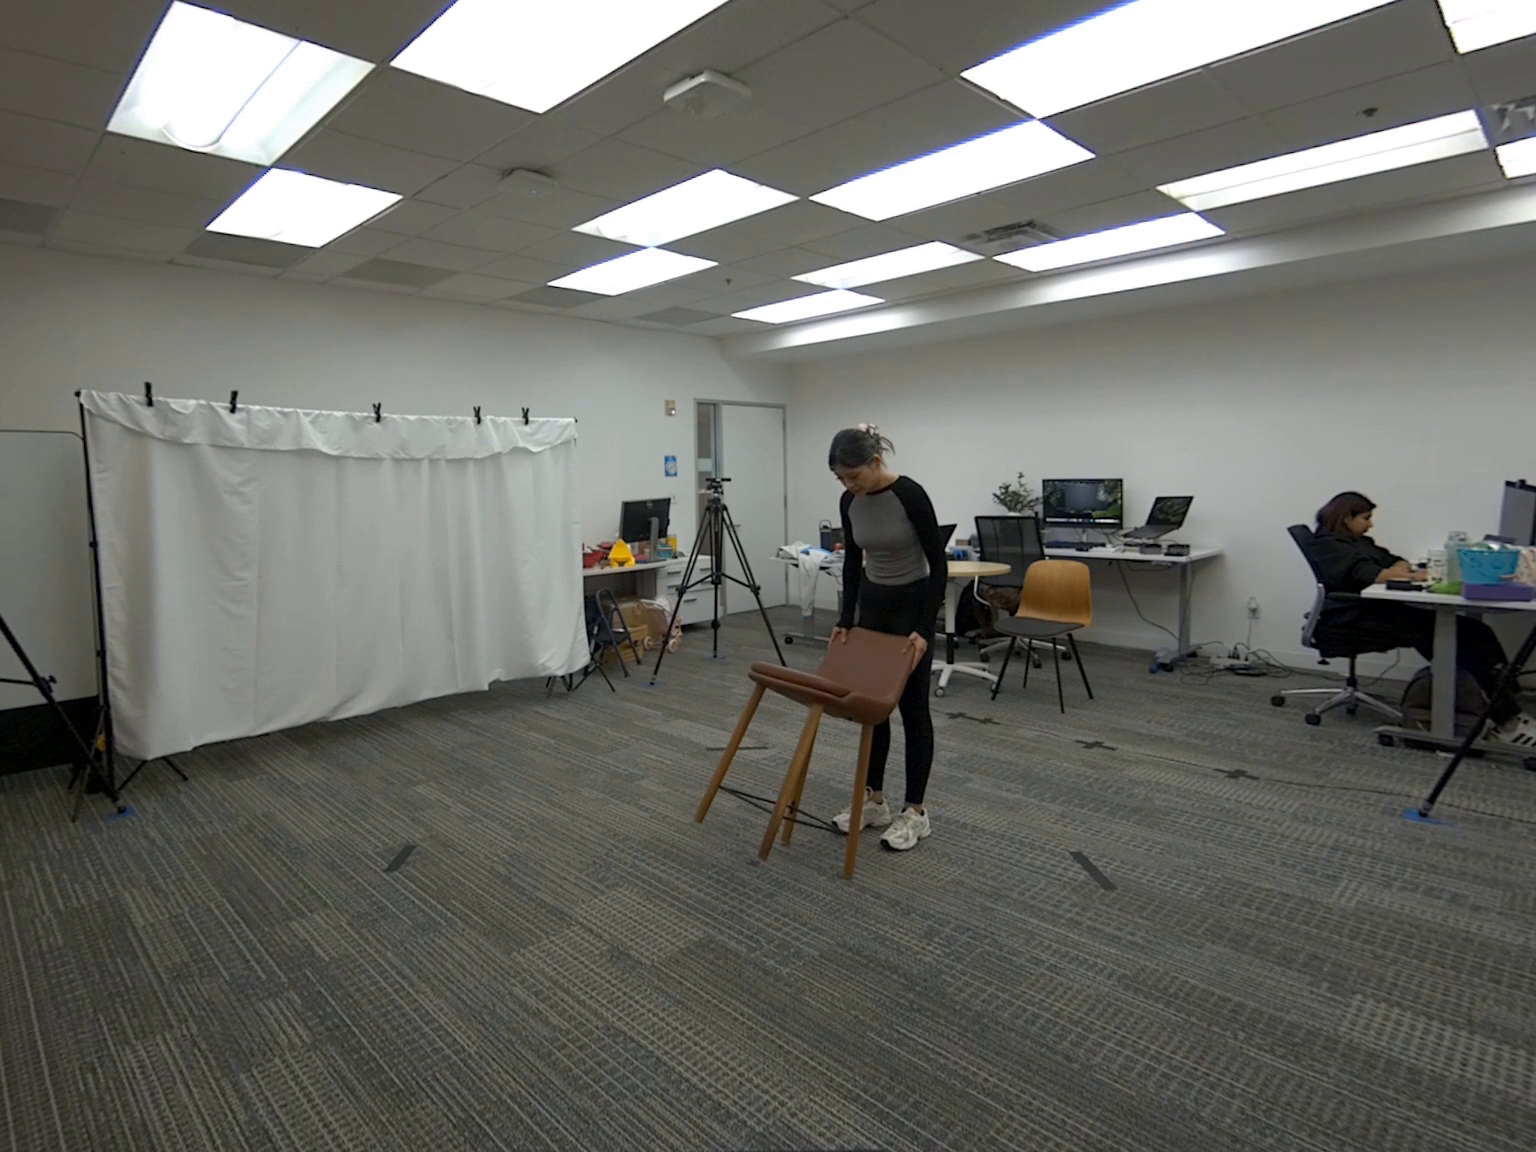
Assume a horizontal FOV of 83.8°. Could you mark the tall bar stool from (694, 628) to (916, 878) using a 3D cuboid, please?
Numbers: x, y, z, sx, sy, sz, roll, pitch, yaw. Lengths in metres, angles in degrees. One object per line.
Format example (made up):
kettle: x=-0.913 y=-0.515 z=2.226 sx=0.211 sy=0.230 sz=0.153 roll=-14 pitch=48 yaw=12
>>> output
tall bar stool: x=0.162 y=0.558 z=3.084 sx=0.451 sy=0.895 sz=0.470 roll=27 pitch=-13 yaw=-34
